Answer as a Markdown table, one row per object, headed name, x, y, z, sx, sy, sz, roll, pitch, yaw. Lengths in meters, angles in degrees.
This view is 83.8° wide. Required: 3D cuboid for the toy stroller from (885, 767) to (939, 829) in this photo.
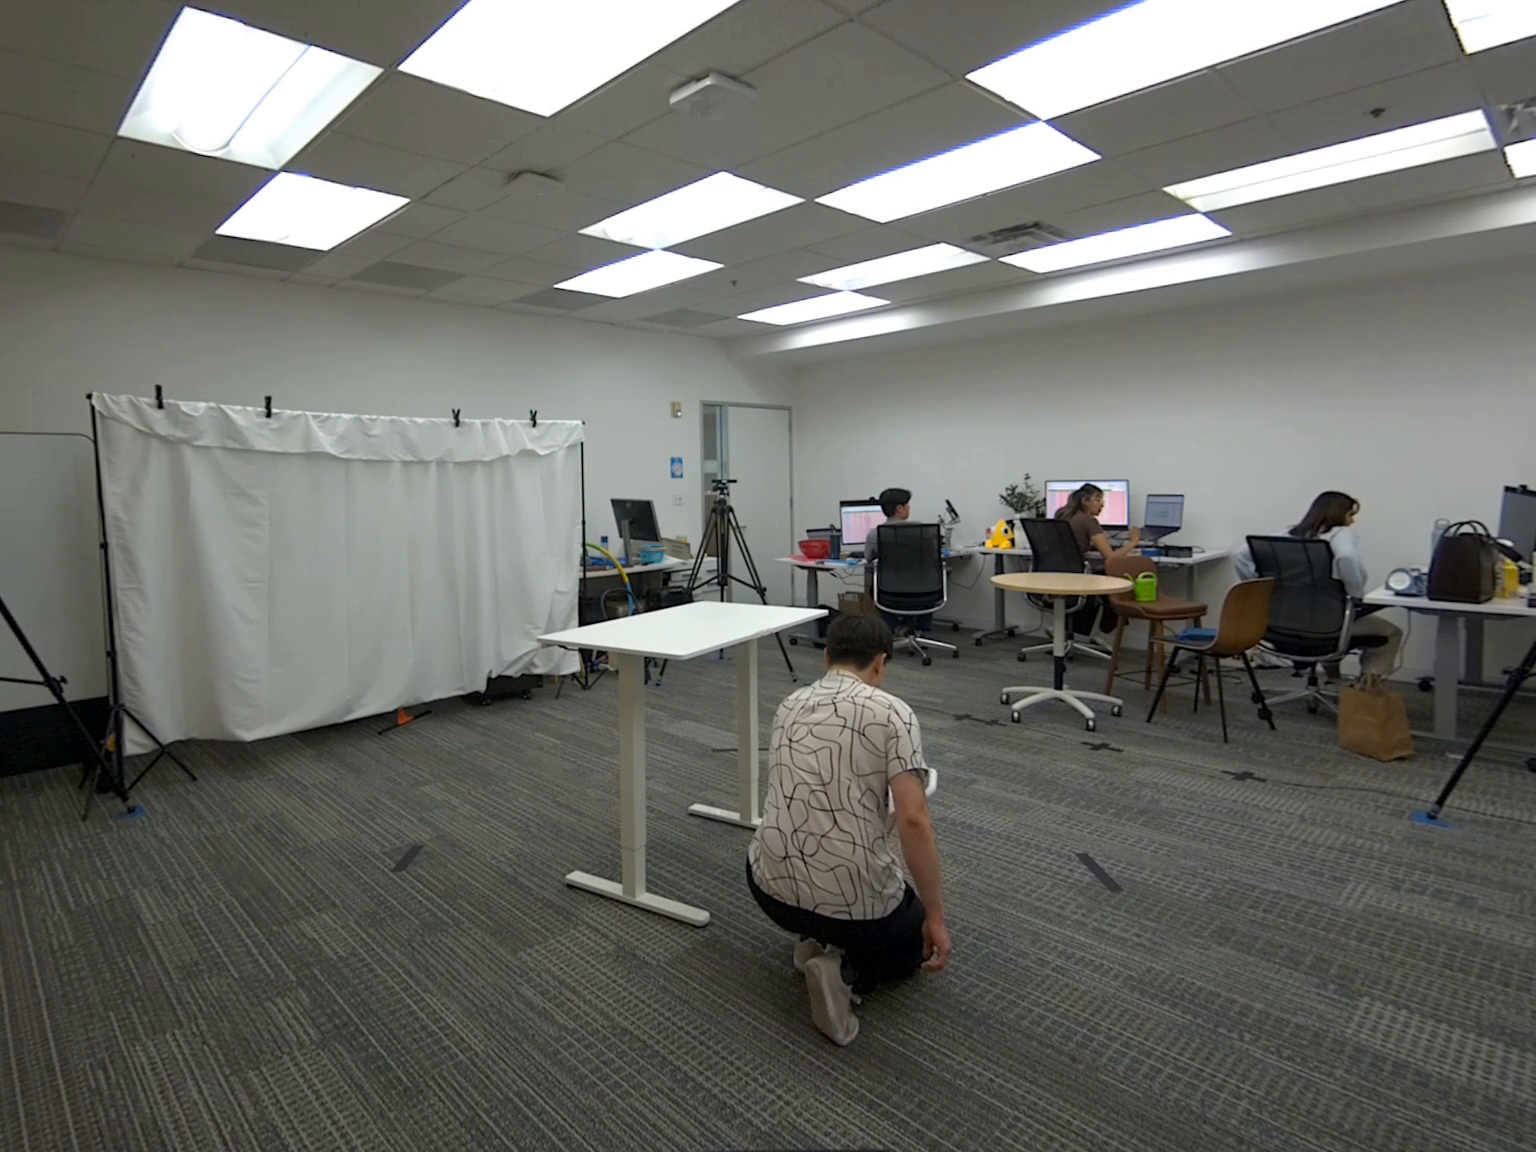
| name | x | y | z | sx | sy | sz | roll | pitch | yaw |
| --- | --- | --- | --- | --- | --- | --- | --- | --- | --- |
| toy stroller | 0.318 | 0.840 | 2.785 | 0.348 | 0.530 | 0.278 | 18 | 14 | 16 |
